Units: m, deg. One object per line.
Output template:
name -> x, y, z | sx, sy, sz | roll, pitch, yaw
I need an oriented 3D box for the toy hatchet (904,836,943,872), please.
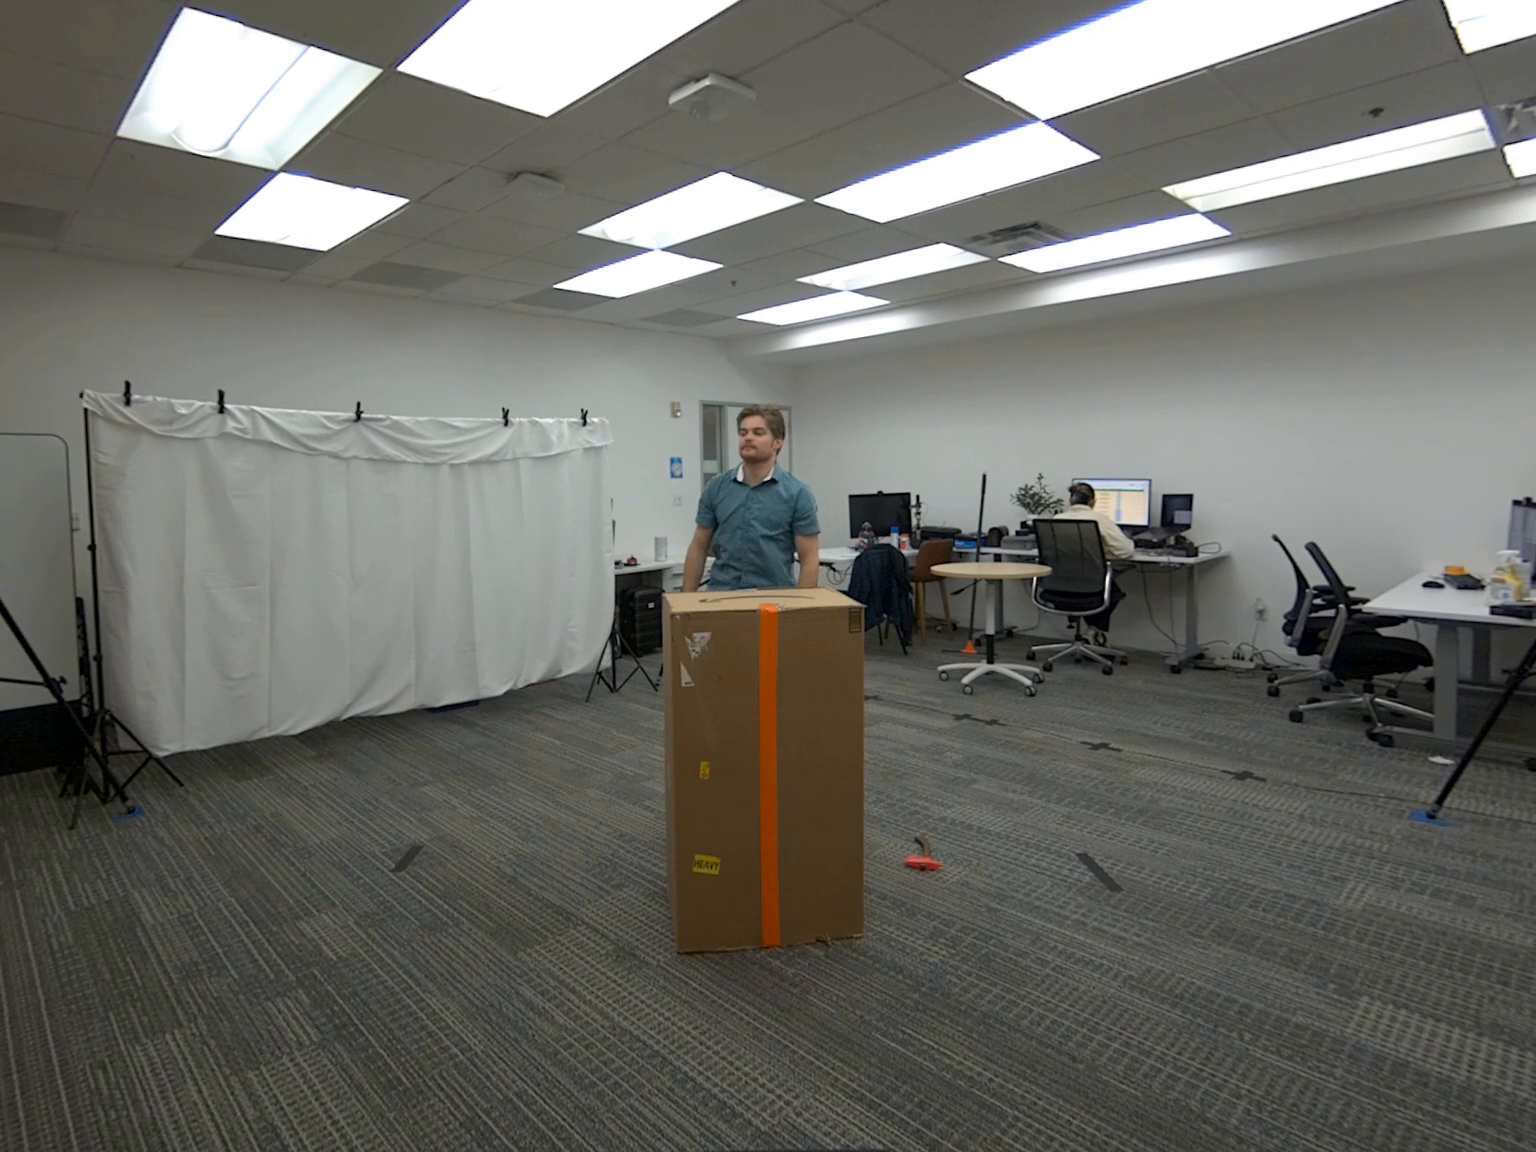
toy hatchet -> 0.553, 1.021, 3.155 | 0.131, 0.029, 0.271 | -6, 4, -3
